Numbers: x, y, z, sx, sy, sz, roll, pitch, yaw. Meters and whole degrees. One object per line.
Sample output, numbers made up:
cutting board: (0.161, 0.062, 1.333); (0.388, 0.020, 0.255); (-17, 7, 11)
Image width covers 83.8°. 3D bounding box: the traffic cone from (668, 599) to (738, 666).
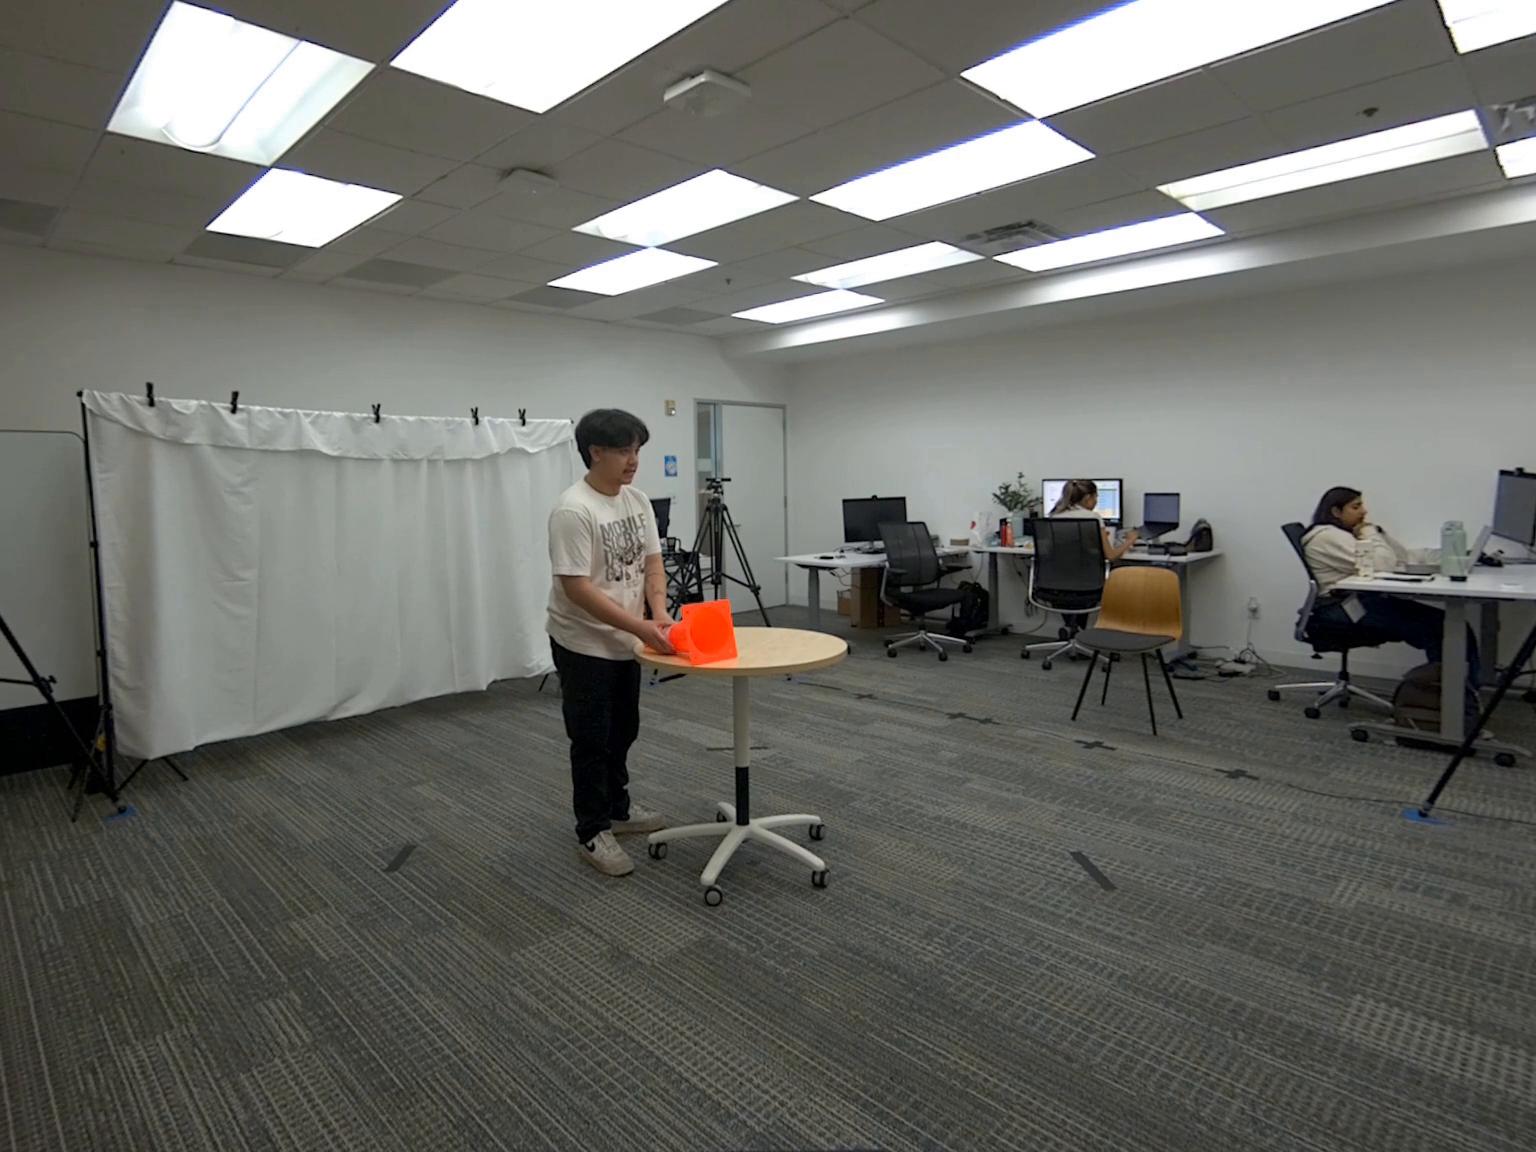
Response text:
traffic cone: (-0.295, 0.218, 2.942); (0.198, 0.206, 0.391); (-6, -6, -40)
